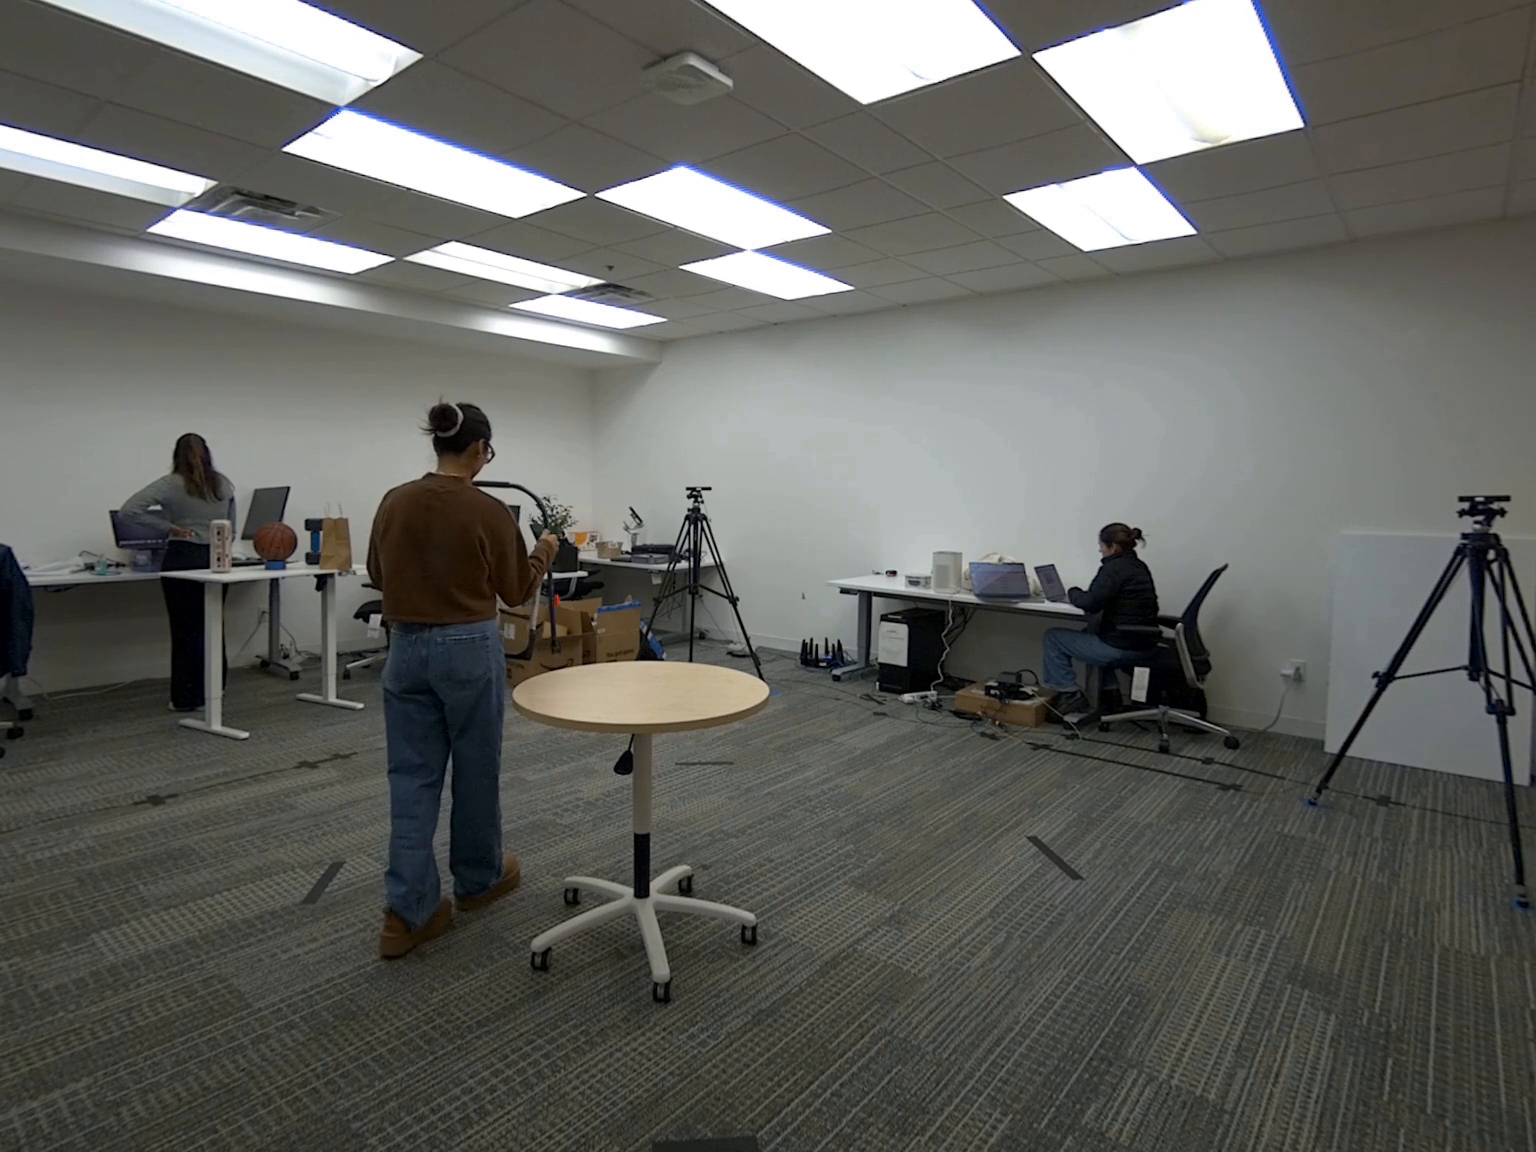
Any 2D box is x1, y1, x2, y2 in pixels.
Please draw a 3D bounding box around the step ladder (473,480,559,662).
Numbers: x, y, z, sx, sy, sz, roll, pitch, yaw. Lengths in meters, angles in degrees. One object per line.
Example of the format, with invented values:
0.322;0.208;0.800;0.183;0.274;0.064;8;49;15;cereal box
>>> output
-1.006;-0.030;3.042;0.432;0.606;0.349;2;1;2;step ladder
